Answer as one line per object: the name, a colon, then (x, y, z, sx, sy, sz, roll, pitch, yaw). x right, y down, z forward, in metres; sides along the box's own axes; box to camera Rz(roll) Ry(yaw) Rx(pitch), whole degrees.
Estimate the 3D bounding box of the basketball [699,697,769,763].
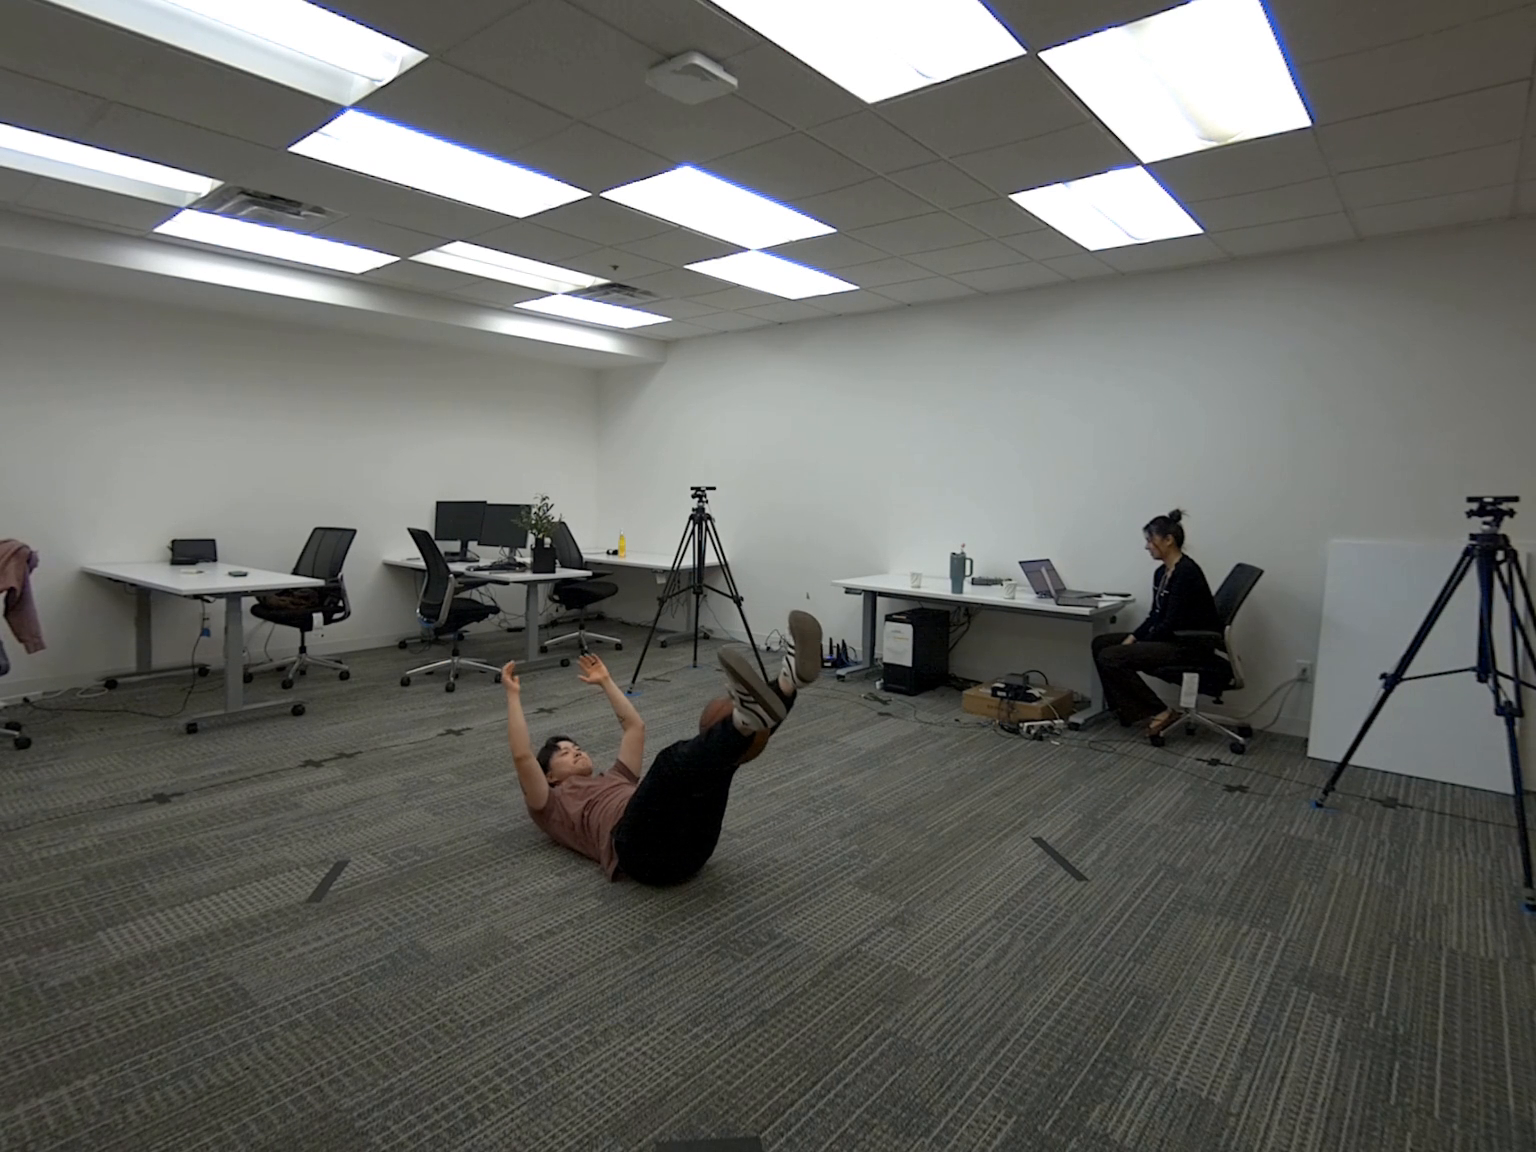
basketball: (-0.117, 0.509, 2.803, 0.235, 0.235, 0.237, 1, 5, -2)
